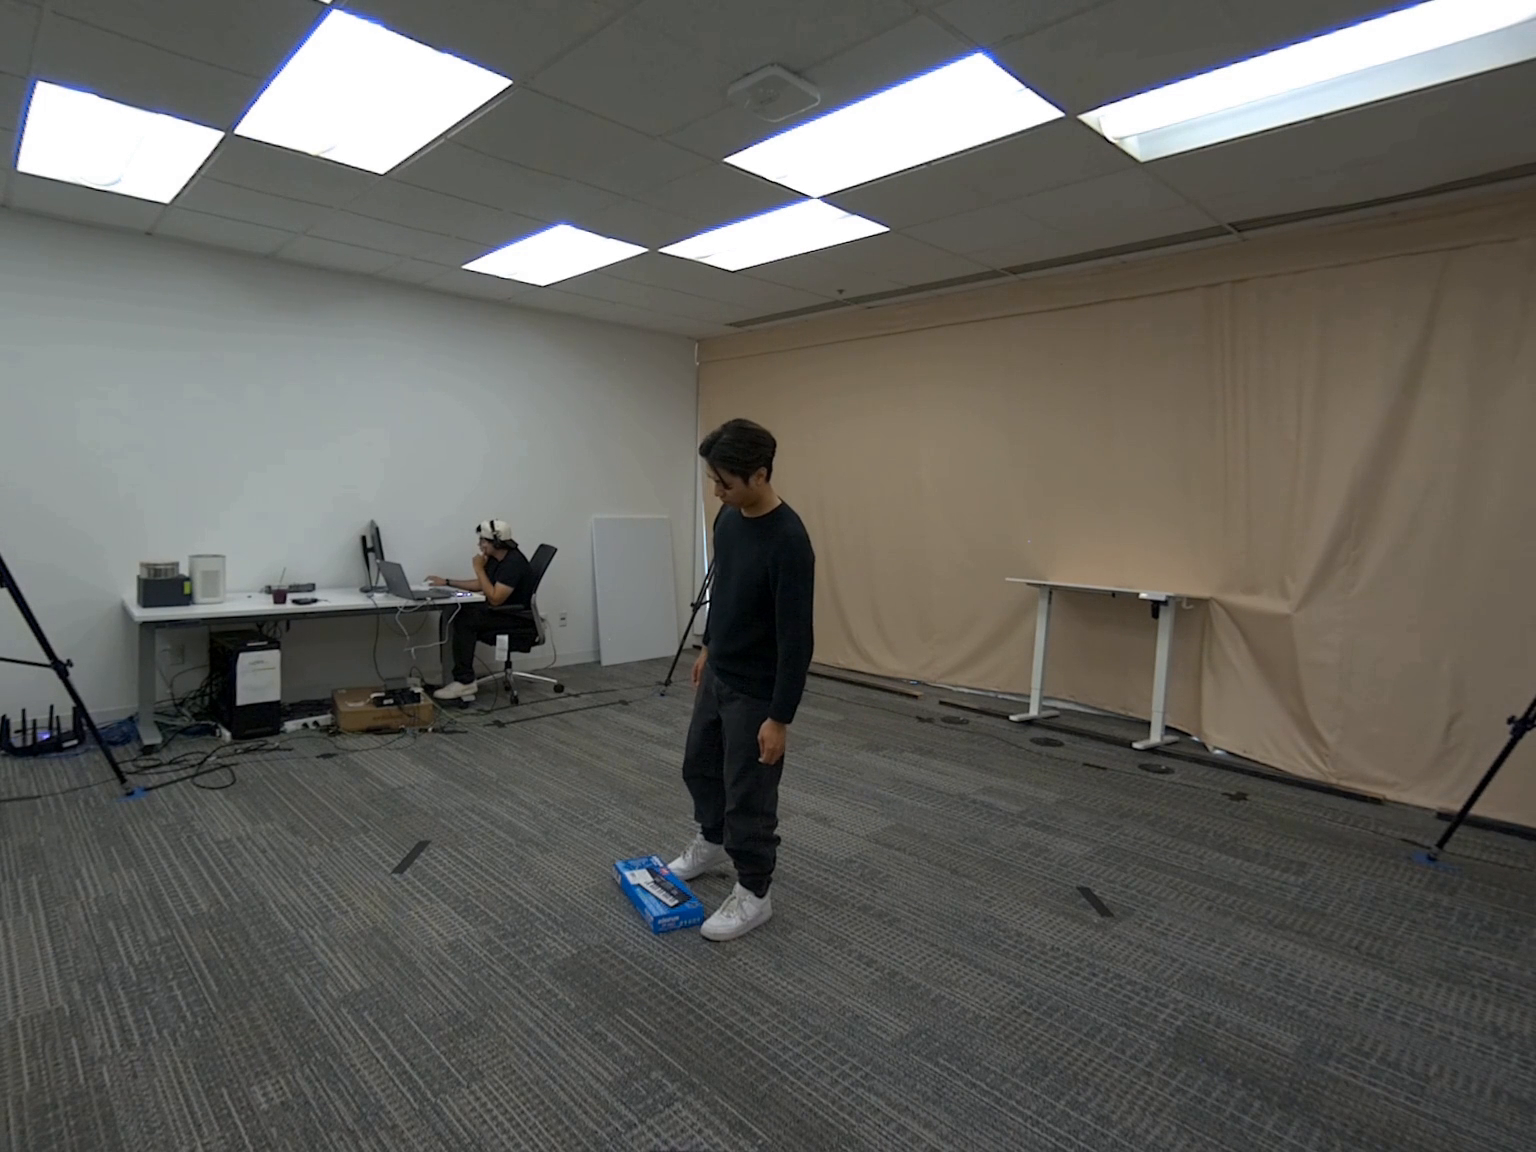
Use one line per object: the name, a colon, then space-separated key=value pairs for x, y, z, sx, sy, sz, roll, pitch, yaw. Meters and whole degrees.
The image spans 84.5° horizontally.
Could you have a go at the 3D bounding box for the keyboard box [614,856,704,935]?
keyboard box: x=-0.396 y=1.091 z=2.903 sx=0.172 sy=0.059 sz=0.446 roll=-1 pitch=6 yaw=-27
